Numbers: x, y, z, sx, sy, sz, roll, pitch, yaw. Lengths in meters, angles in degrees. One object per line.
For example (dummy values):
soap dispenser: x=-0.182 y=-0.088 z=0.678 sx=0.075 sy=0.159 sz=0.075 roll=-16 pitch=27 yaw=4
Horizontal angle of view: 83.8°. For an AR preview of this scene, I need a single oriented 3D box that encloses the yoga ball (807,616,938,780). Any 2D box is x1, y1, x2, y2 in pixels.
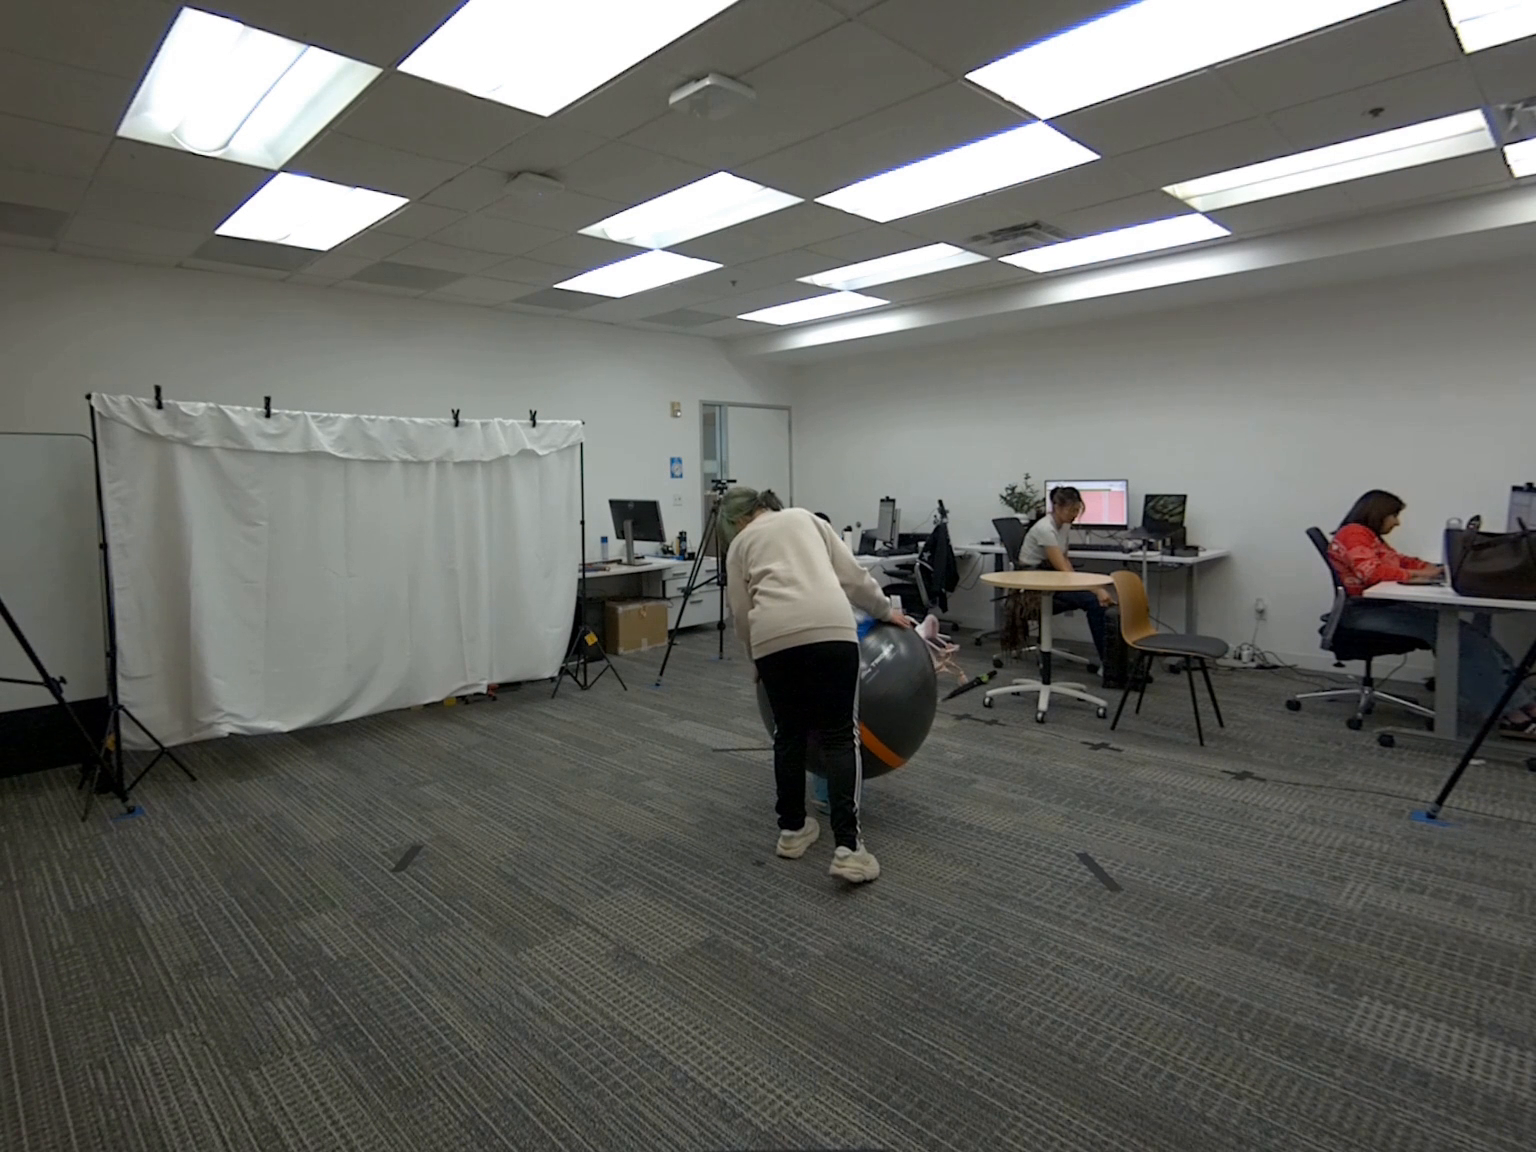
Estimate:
yoga ball: x=0.326 y=0.472 z=3.602 sx=0.757 sy=0.755 sz=0.762 roll=-1 pitch=5 yaw=-2
